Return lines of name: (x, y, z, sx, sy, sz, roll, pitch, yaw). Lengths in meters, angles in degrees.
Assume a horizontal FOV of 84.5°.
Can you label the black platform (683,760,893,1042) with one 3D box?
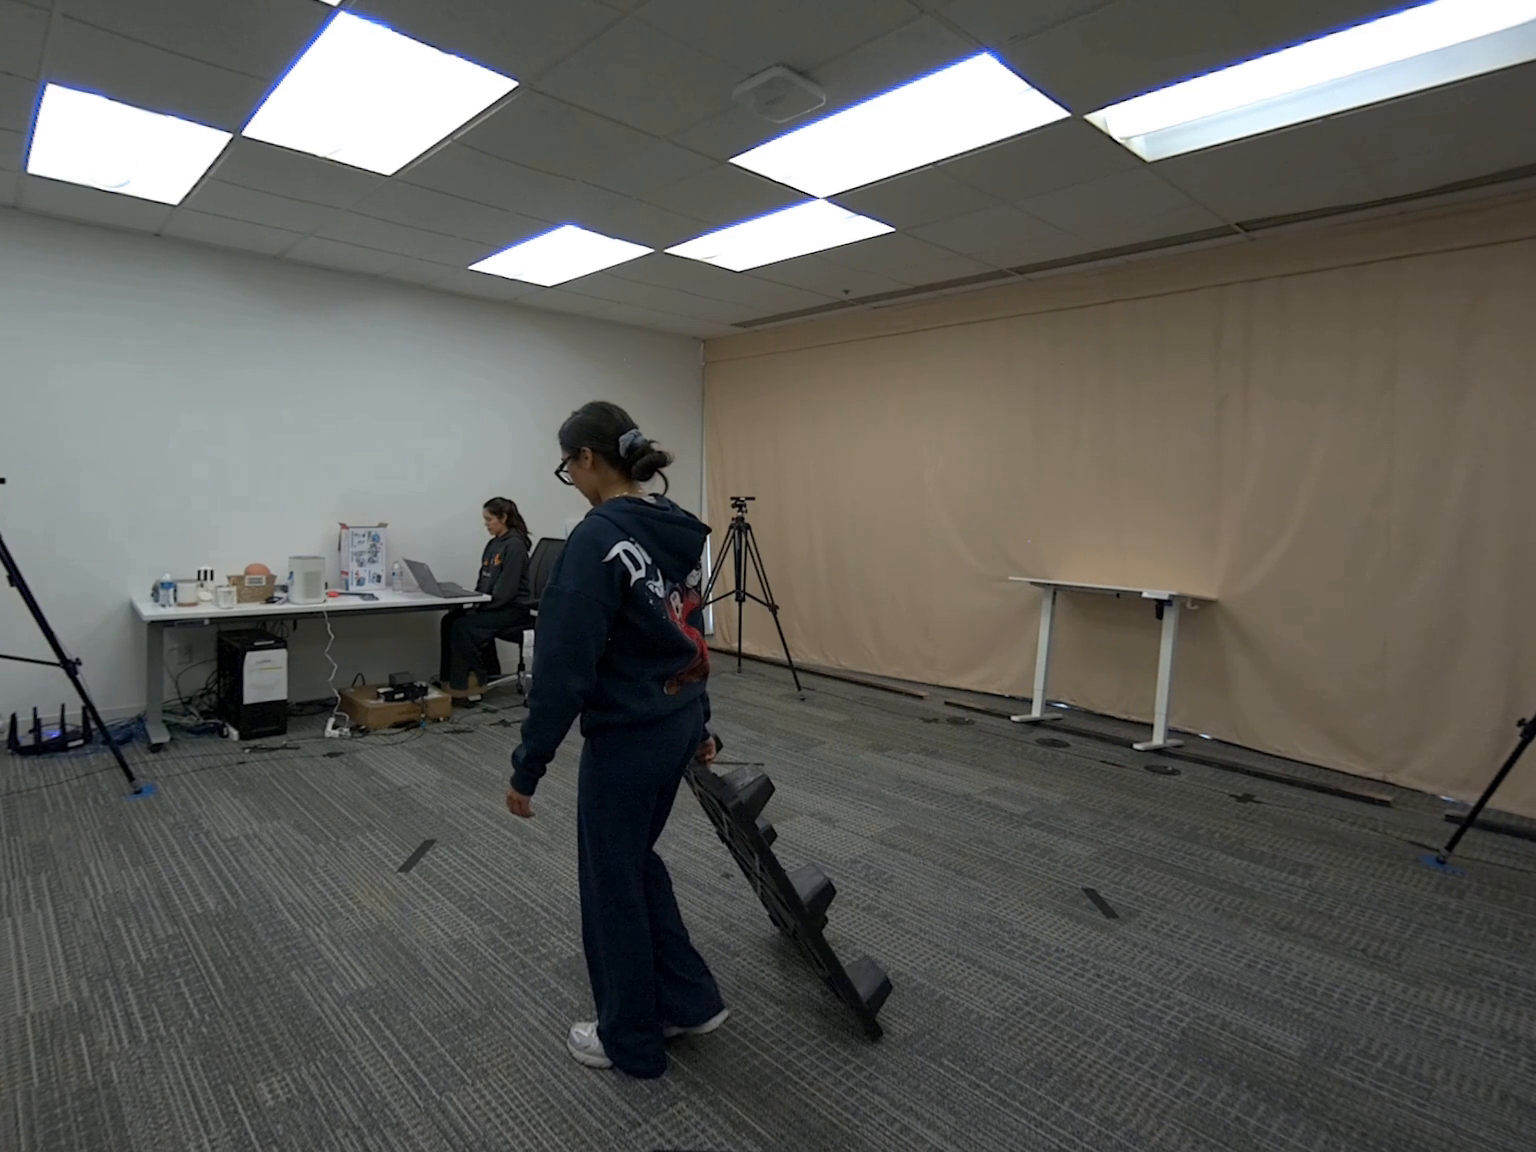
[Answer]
black platform: (0.026, 0.811, 2.358, 0.143, 0.793, 0.617, -33, 16, -16)
